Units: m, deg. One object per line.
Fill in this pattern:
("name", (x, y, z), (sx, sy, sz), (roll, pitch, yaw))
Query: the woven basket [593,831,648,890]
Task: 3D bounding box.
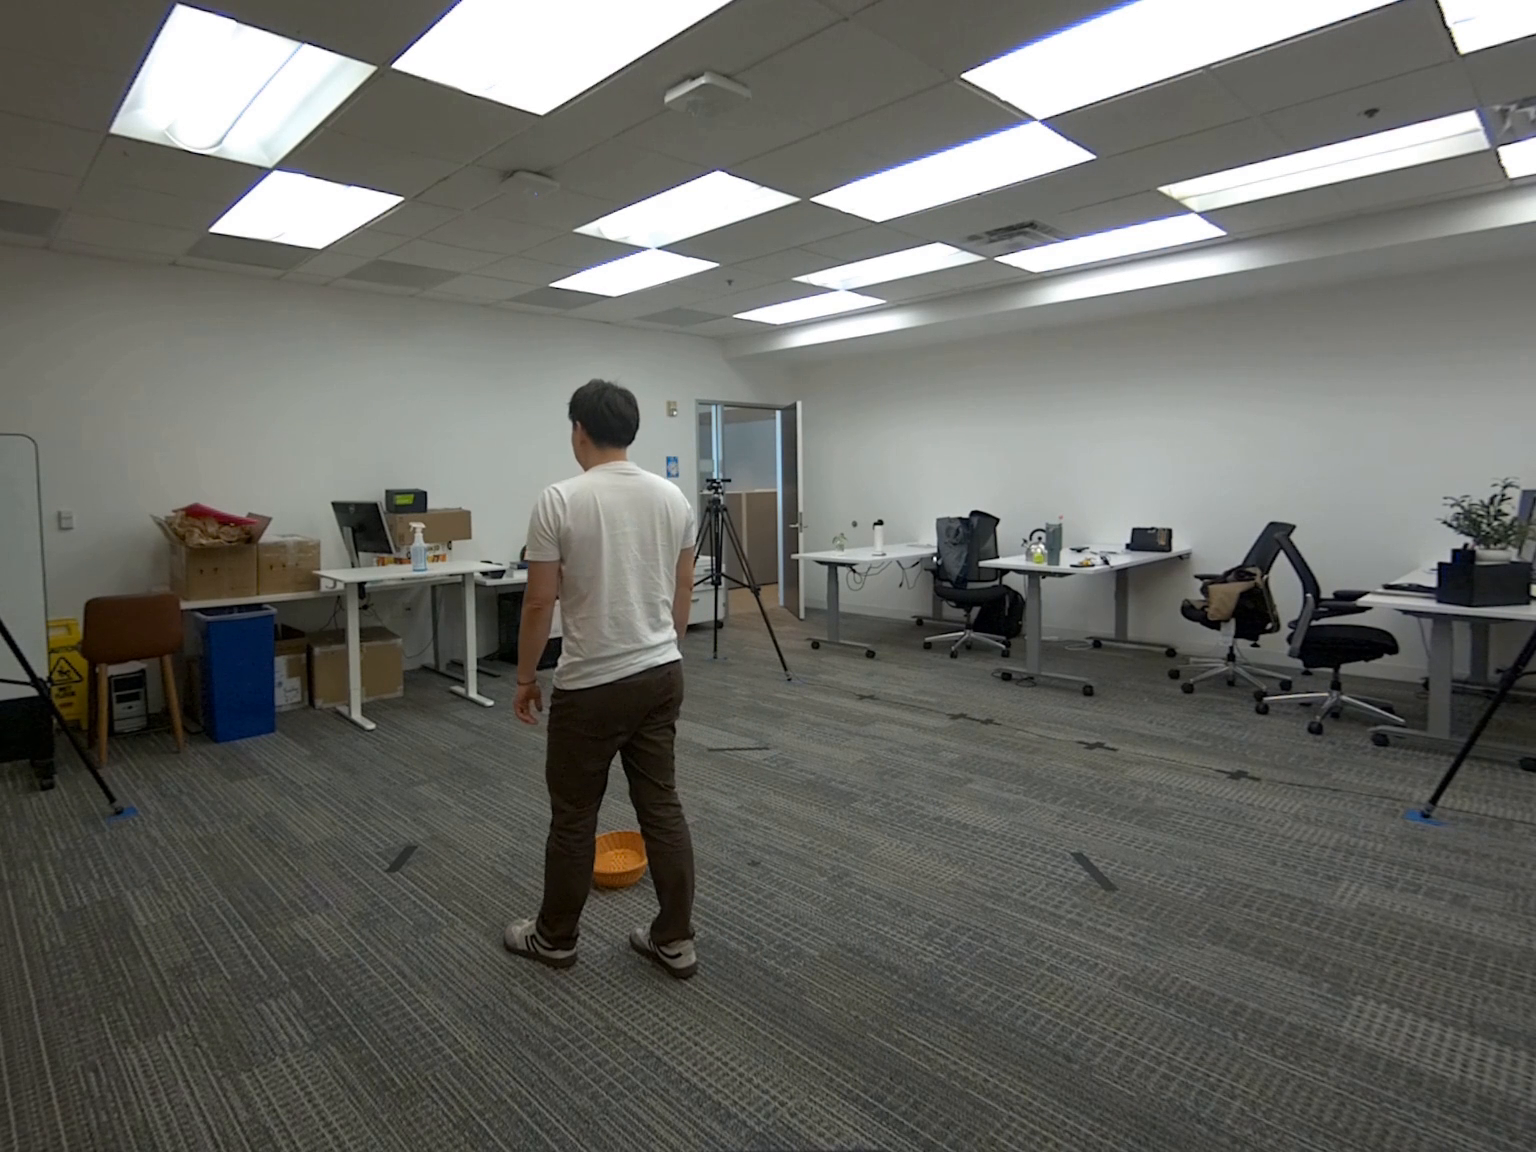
("woven basket", (-0.539, 1.015, 3.071), (0.251, 0.073, 0.353), (-2, 6, -5))
